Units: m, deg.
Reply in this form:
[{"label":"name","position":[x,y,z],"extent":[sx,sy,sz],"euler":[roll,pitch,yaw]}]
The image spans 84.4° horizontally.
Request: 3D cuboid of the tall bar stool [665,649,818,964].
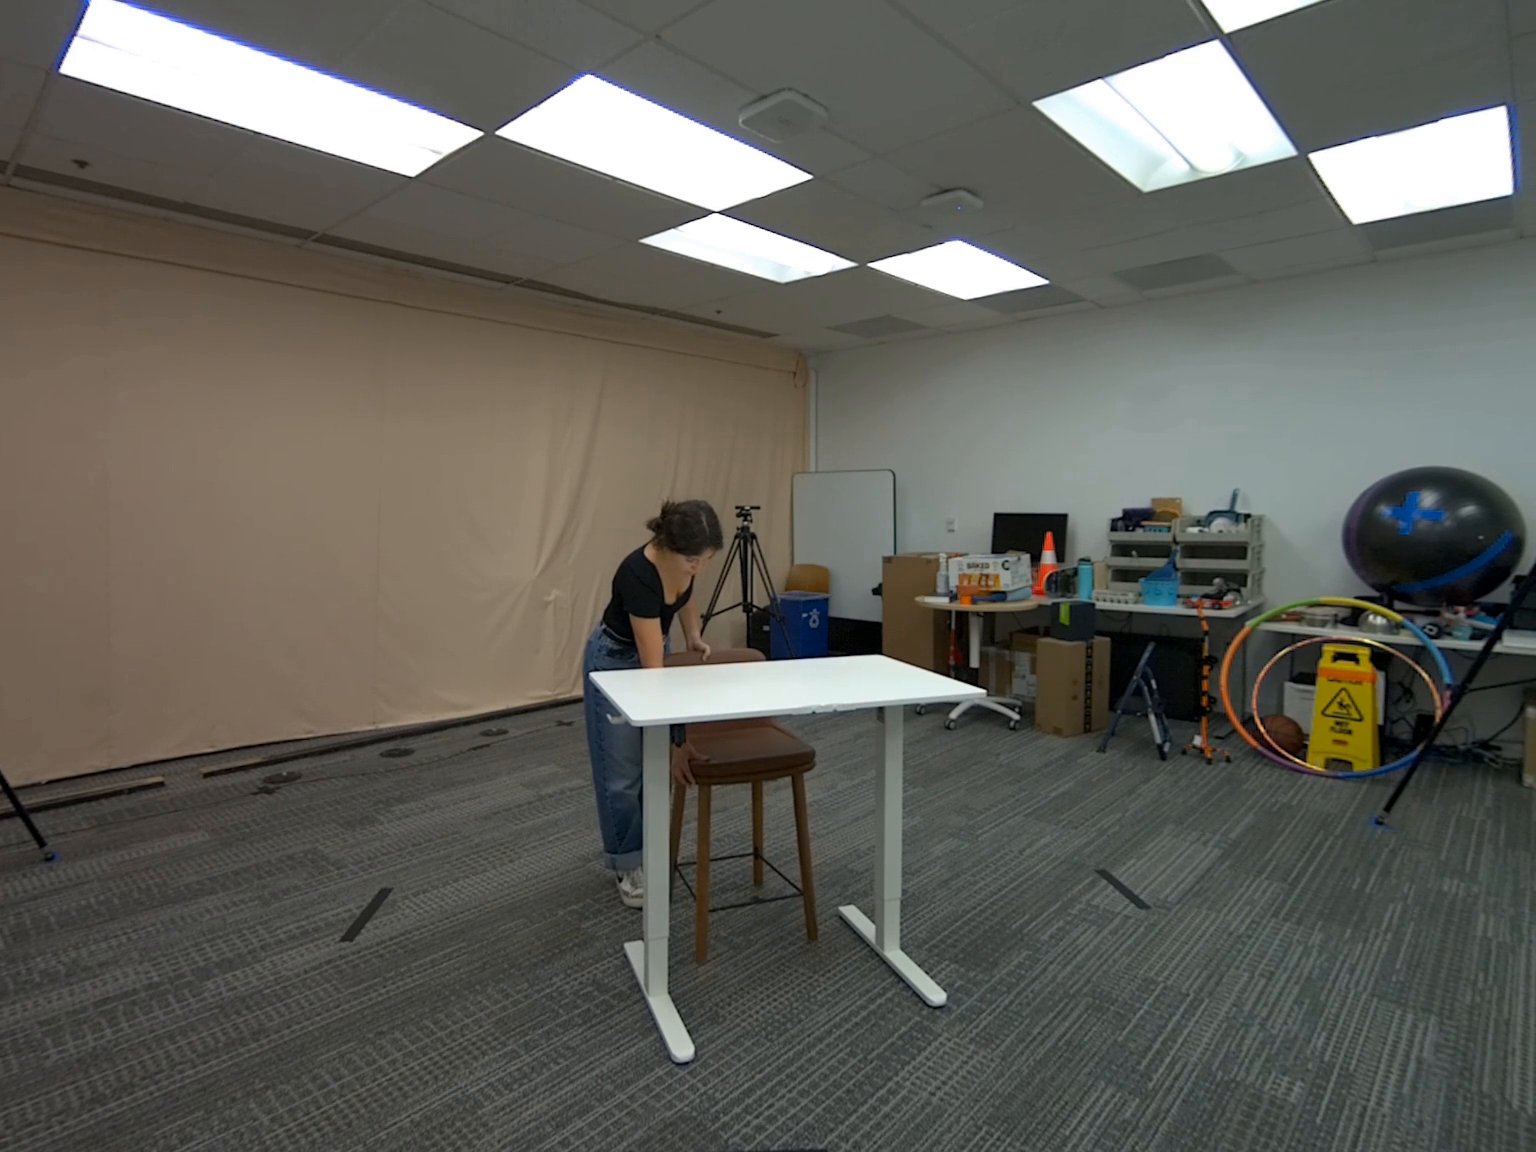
[{"label":"tall bar stool","position":[-0.110,0.724,2.814],"extent":[0.447,0.889,0.477],"euler":[-1,1,-21]}]
